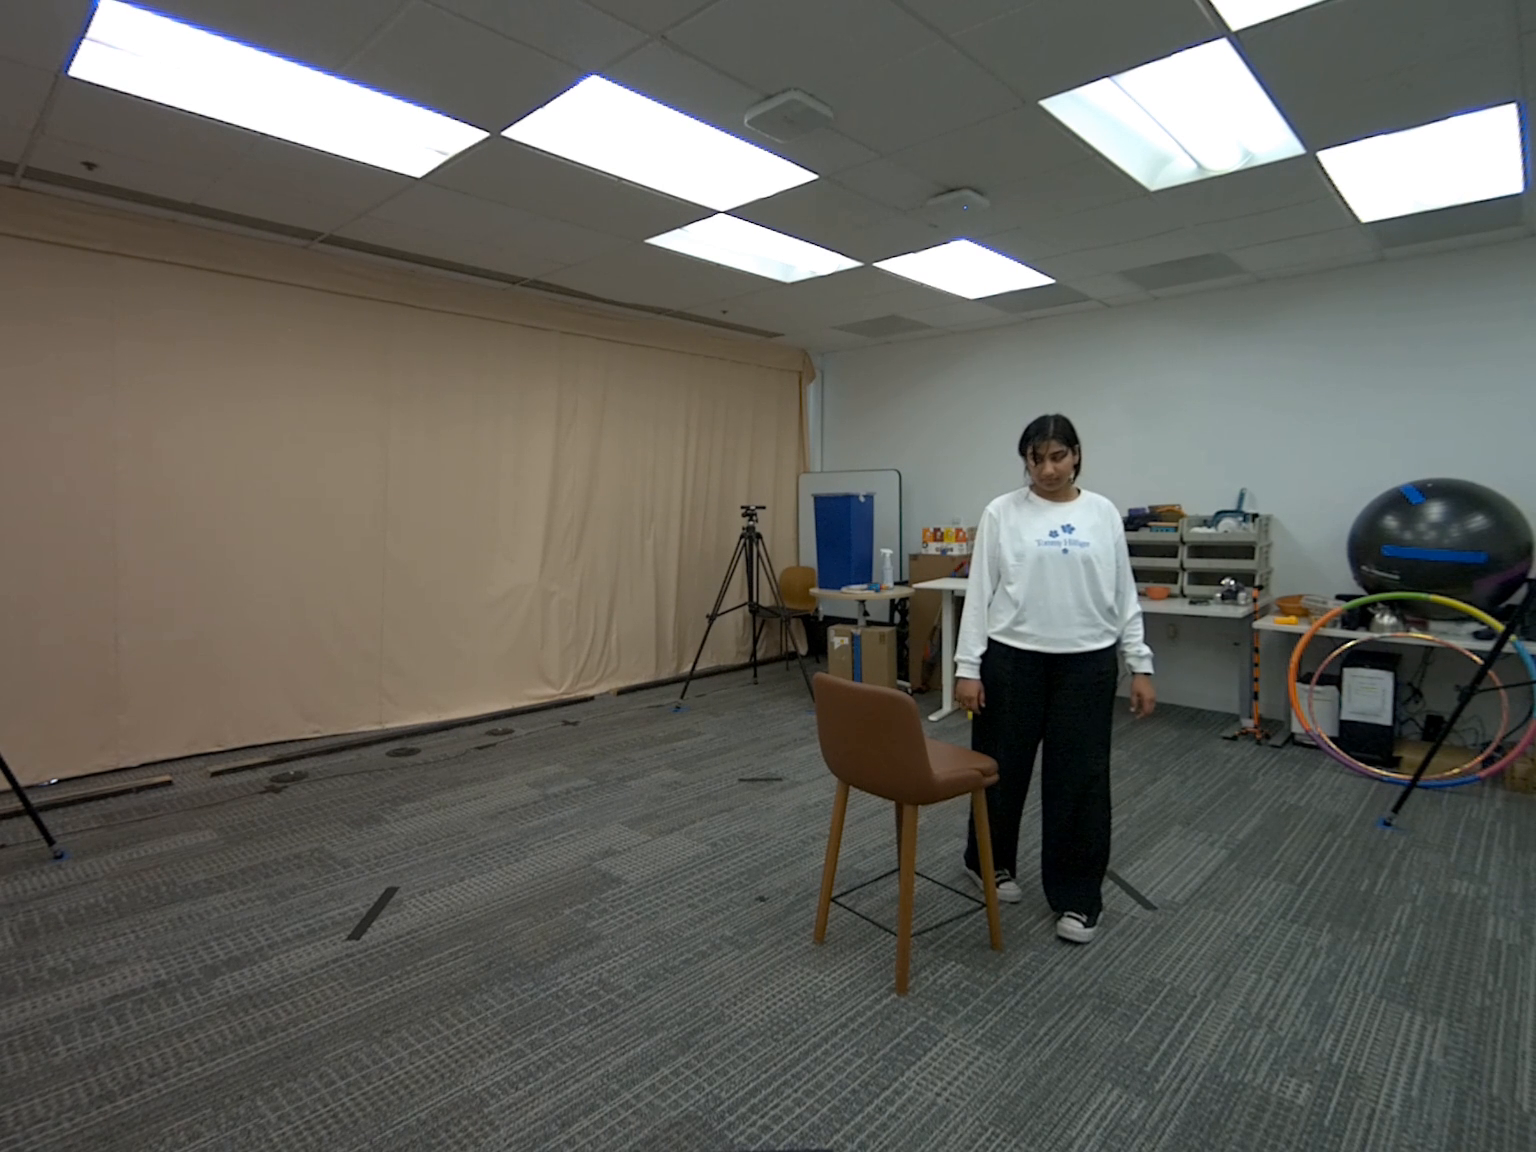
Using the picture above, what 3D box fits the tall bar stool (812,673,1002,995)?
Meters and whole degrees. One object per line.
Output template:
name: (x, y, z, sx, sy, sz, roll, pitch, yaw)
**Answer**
tall bar stool: (0.441, 0.736, 2.644, 0.454, 0.887, 0.471, -4, 5, -38)
